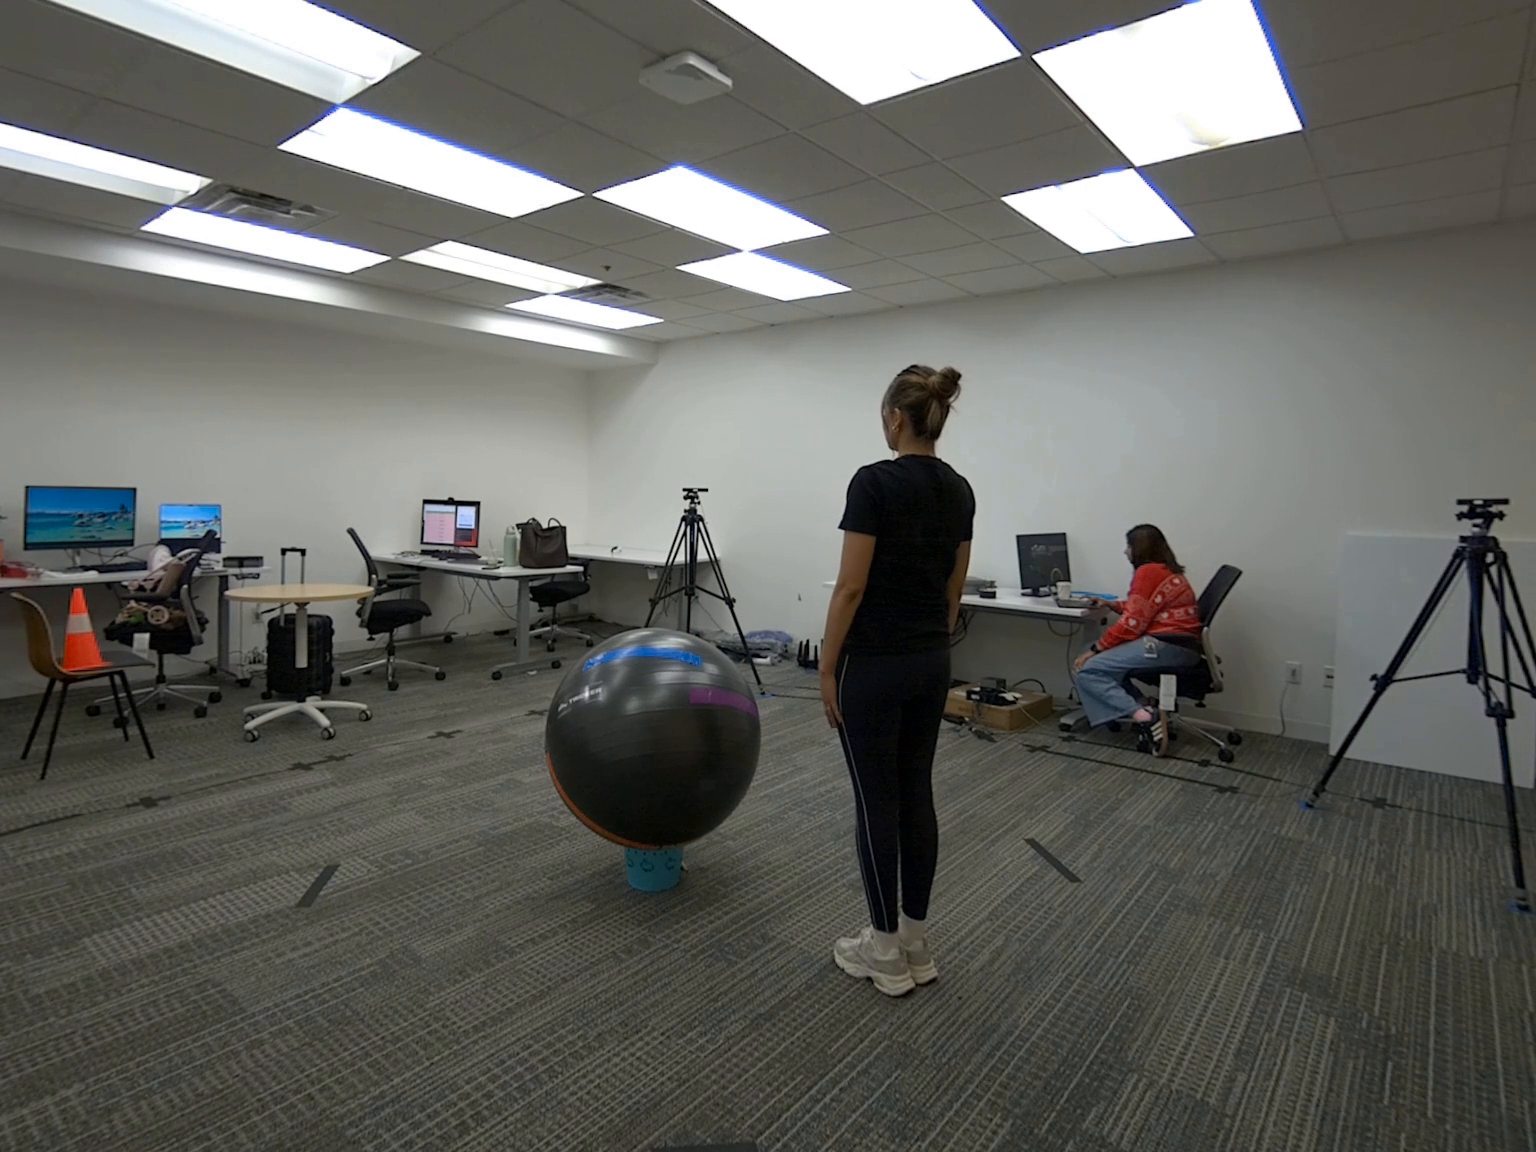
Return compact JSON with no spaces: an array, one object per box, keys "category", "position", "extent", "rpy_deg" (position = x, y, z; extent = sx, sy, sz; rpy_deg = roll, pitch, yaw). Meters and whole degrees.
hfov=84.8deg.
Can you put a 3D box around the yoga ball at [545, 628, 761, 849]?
[{"category":"yoga ball","position":[-0.415,0.564,3.008],"extent":[0.757,0.755,0.762],"rpy_deg":[1,4,-2]}]
